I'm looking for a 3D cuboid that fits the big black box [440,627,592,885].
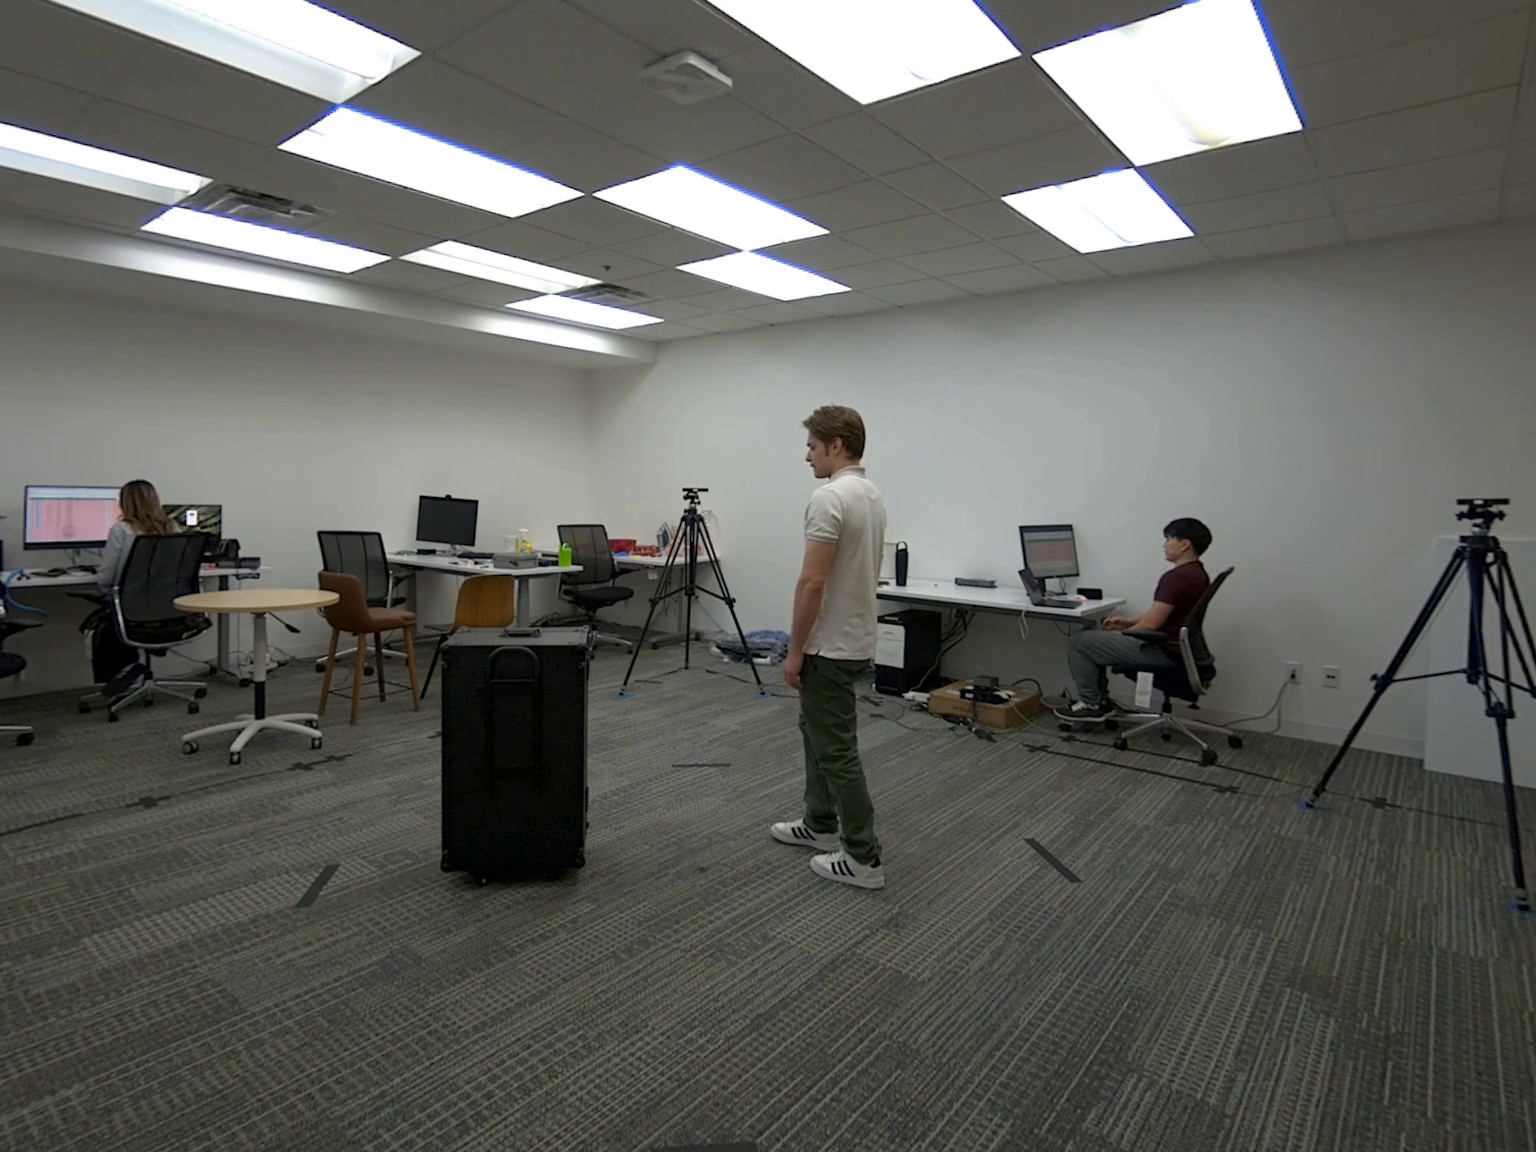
[{"bbox_3d":[-0.906,0.638,3.075,0.519,0.866,0.390,0,3,-8],"label":"big black box"}]
